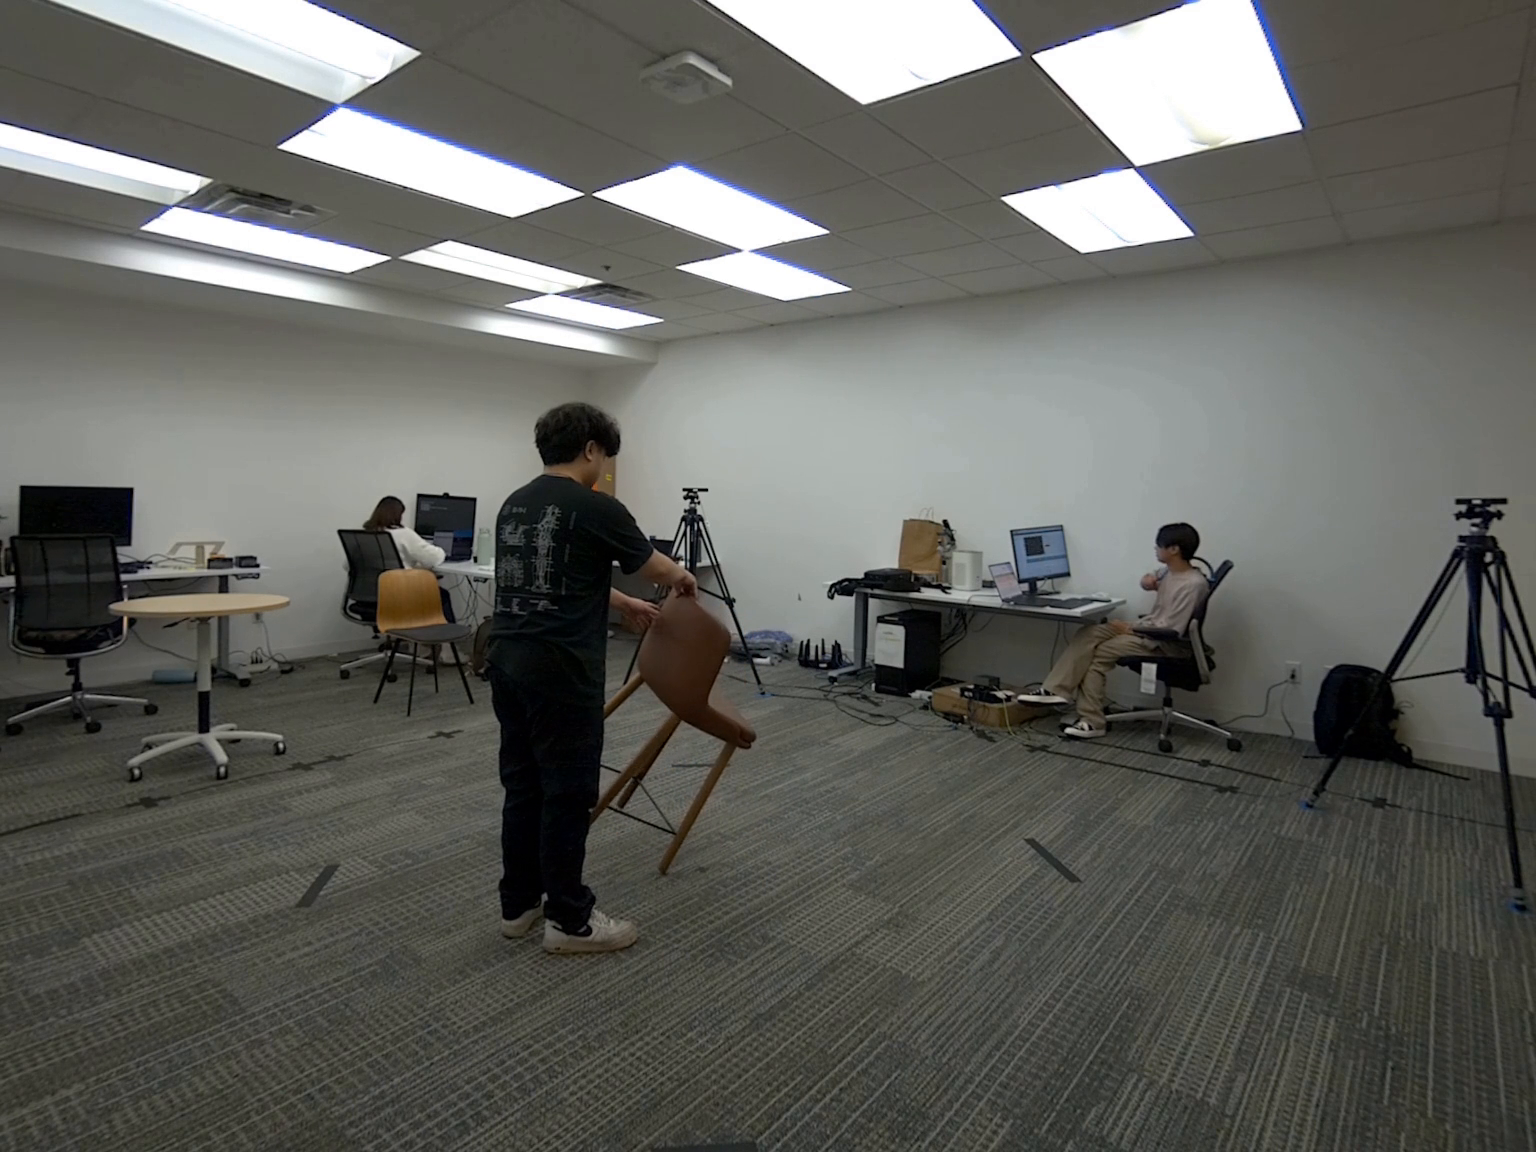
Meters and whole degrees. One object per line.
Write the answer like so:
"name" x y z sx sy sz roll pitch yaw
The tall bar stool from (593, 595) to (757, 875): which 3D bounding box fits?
"tall bar stool" -0.371 0.544 3.092 0.448 0.889 0.476 35 0 -41
